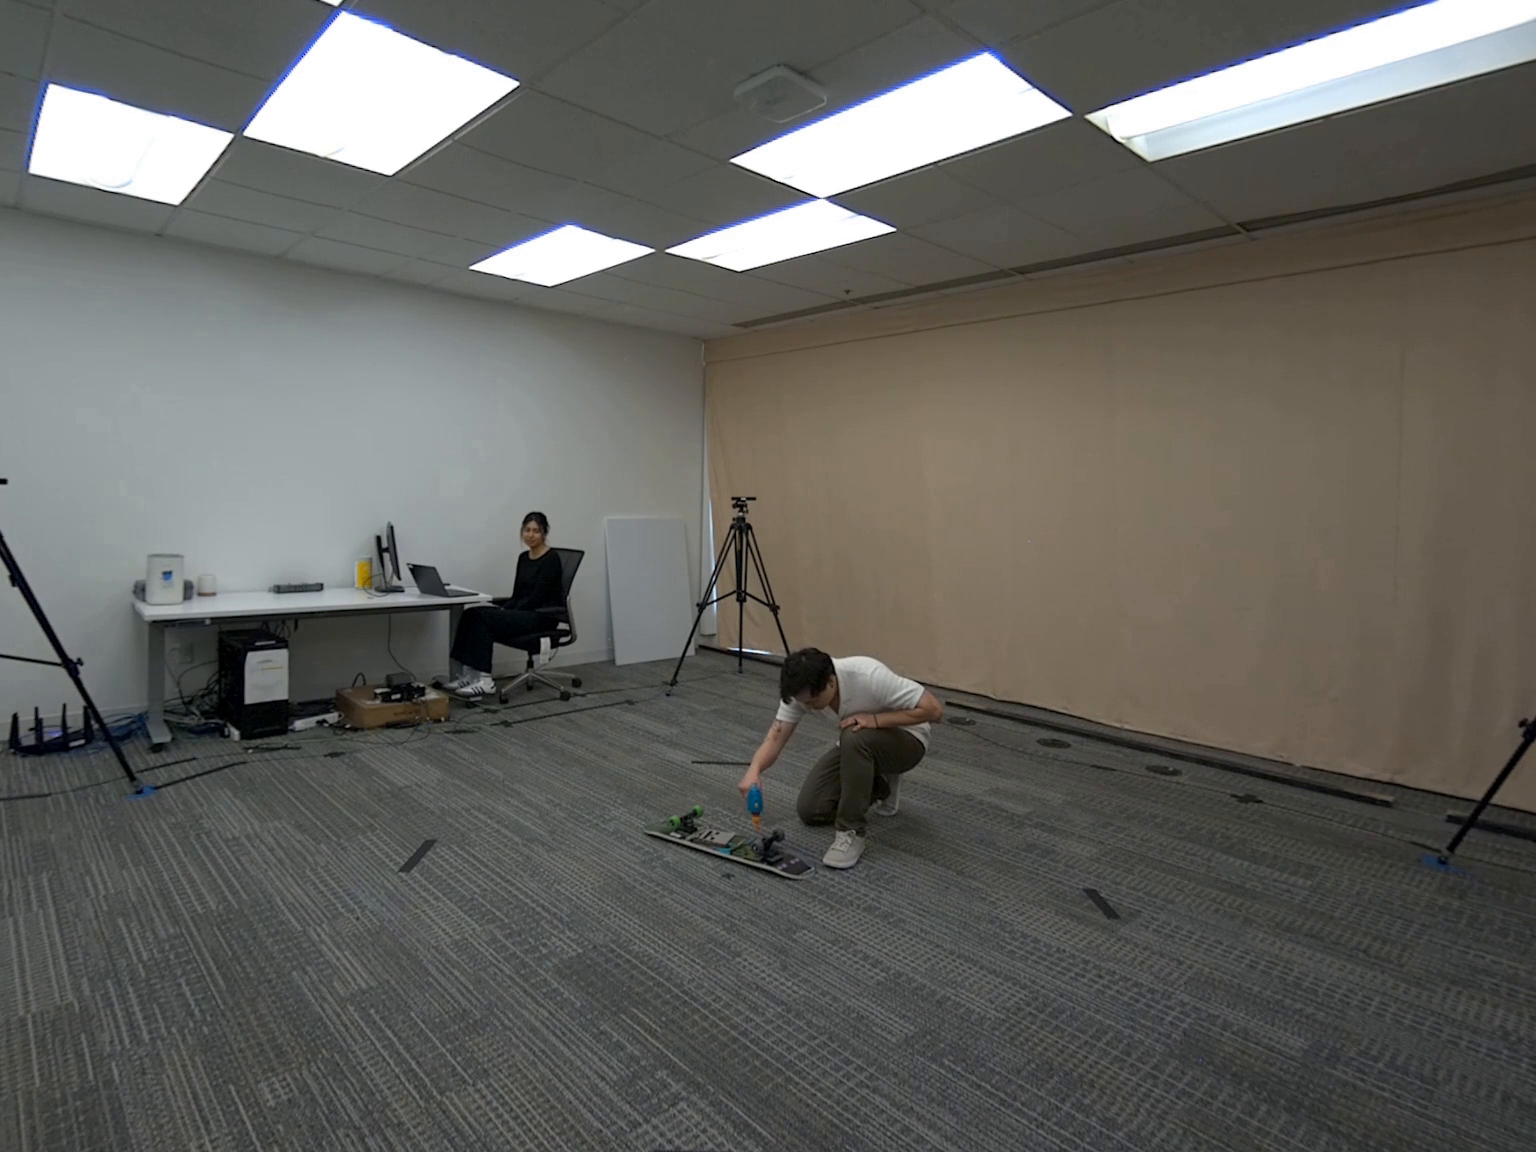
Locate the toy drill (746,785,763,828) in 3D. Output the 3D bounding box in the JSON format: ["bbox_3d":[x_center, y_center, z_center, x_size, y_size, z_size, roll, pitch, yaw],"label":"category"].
[{"bbox_3d":[-0.064,0.893,3.264,0.061,0.170,0.146,-10,2,-4],"label":"toy drill"}]
